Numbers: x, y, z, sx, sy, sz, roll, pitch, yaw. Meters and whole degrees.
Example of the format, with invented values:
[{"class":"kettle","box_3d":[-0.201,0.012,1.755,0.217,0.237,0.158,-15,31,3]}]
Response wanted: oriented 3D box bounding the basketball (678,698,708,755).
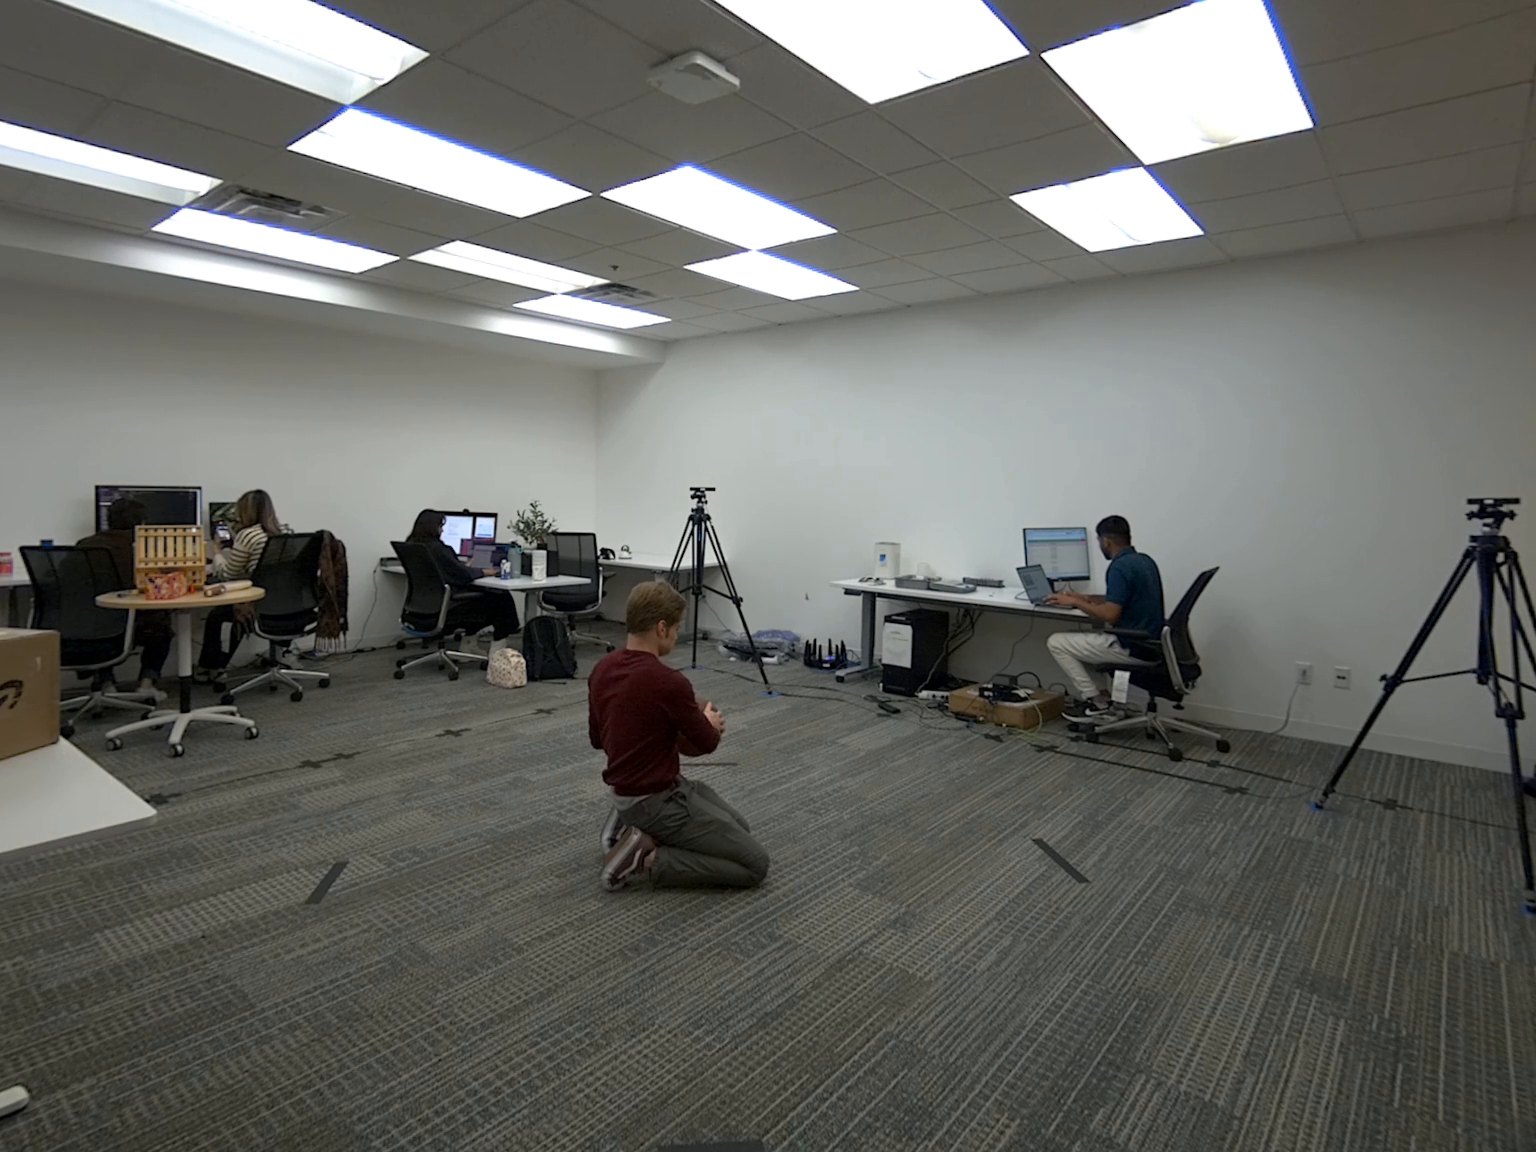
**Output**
[{"class":"basketball","box_3d":[-0.312,0.610,3.473,0.235,0.235,0.237,1,4,-2]}]
